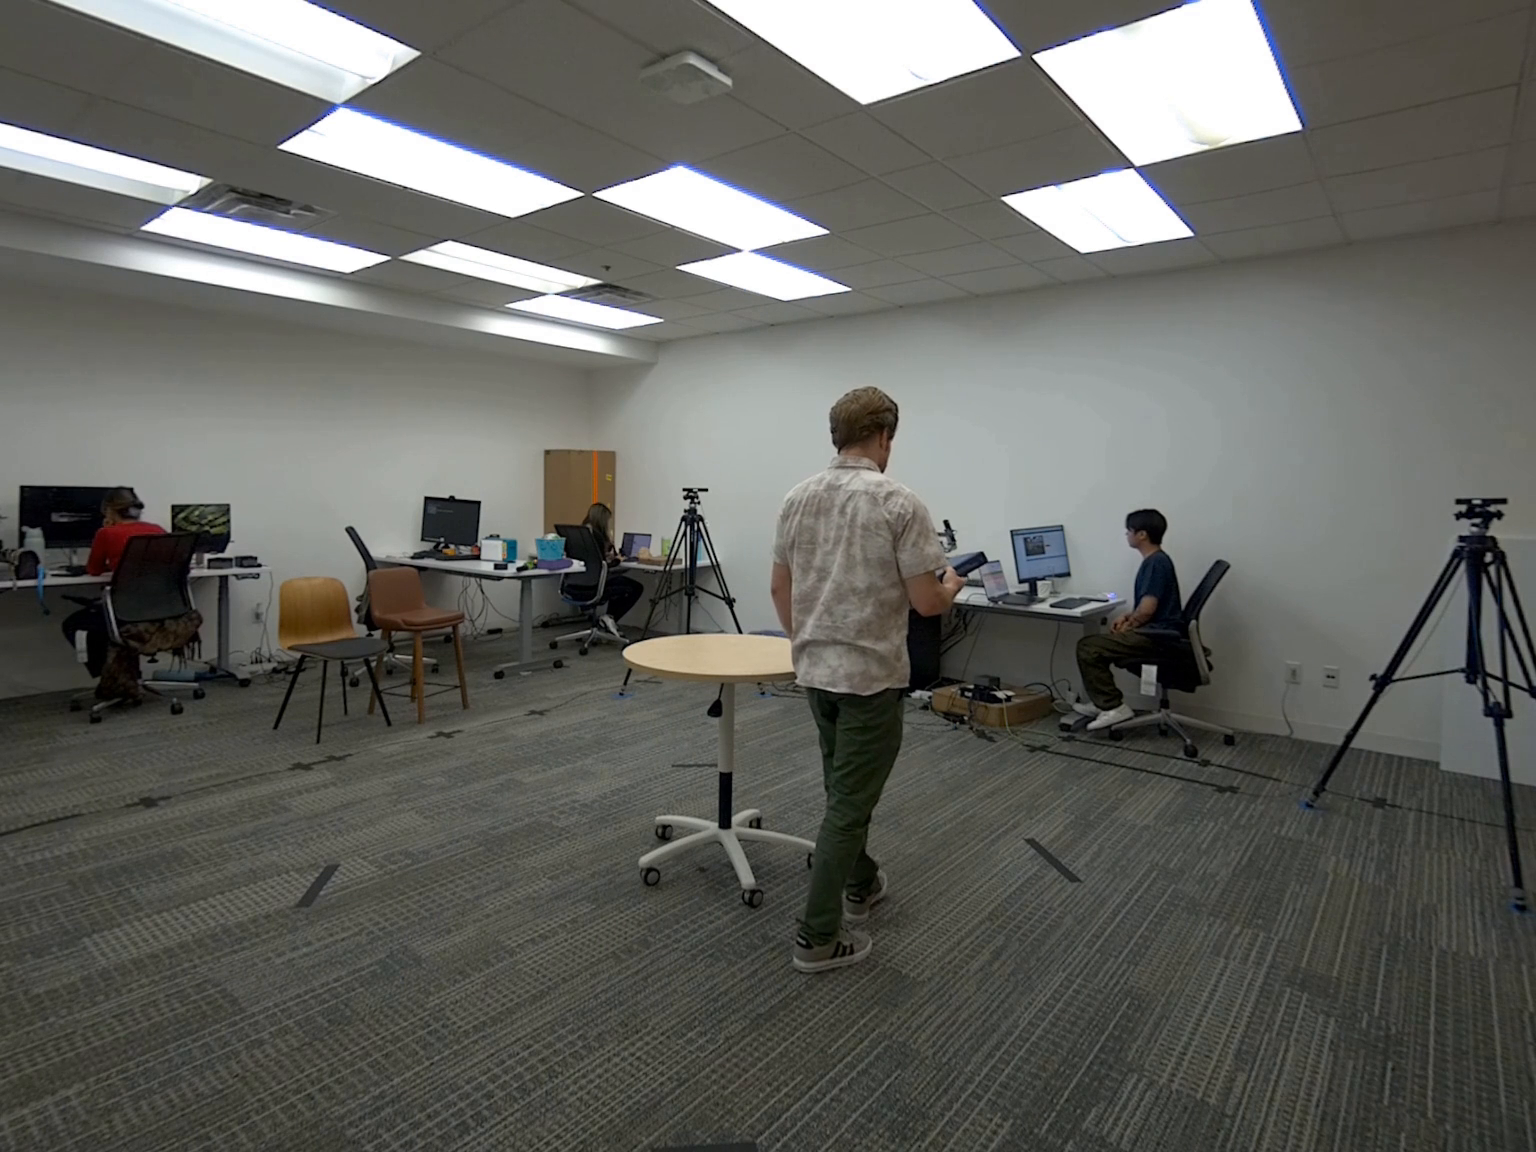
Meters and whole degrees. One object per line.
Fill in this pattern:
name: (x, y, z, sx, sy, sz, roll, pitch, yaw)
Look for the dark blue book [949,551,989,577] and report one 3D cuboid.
dark blue book: (0.593, -0.002, 2.772, 0.242, 0.045, 0.166, -28, 7, -23)
